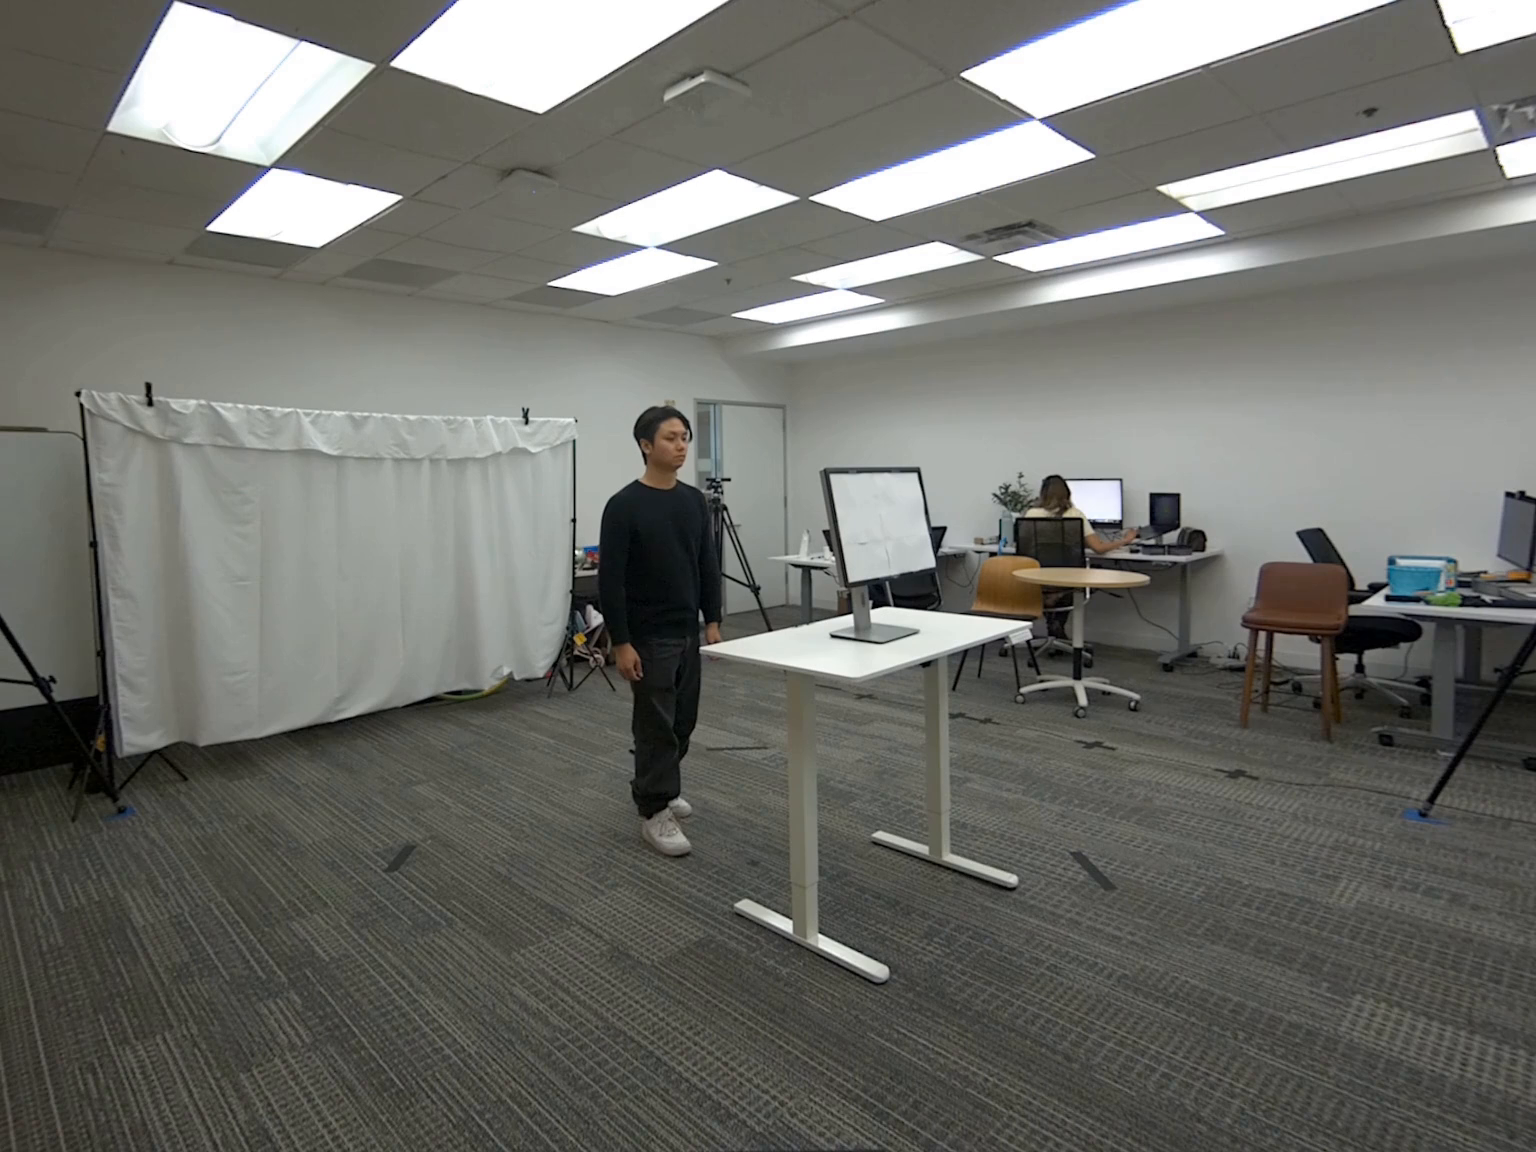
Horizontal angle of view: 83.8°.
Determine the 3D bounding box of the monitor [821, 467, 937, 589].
[{"bbox_3d":[0.349,-0.075,2.749,0.180,0.513,0.516,9,9,38],"label":"monitor"}]
